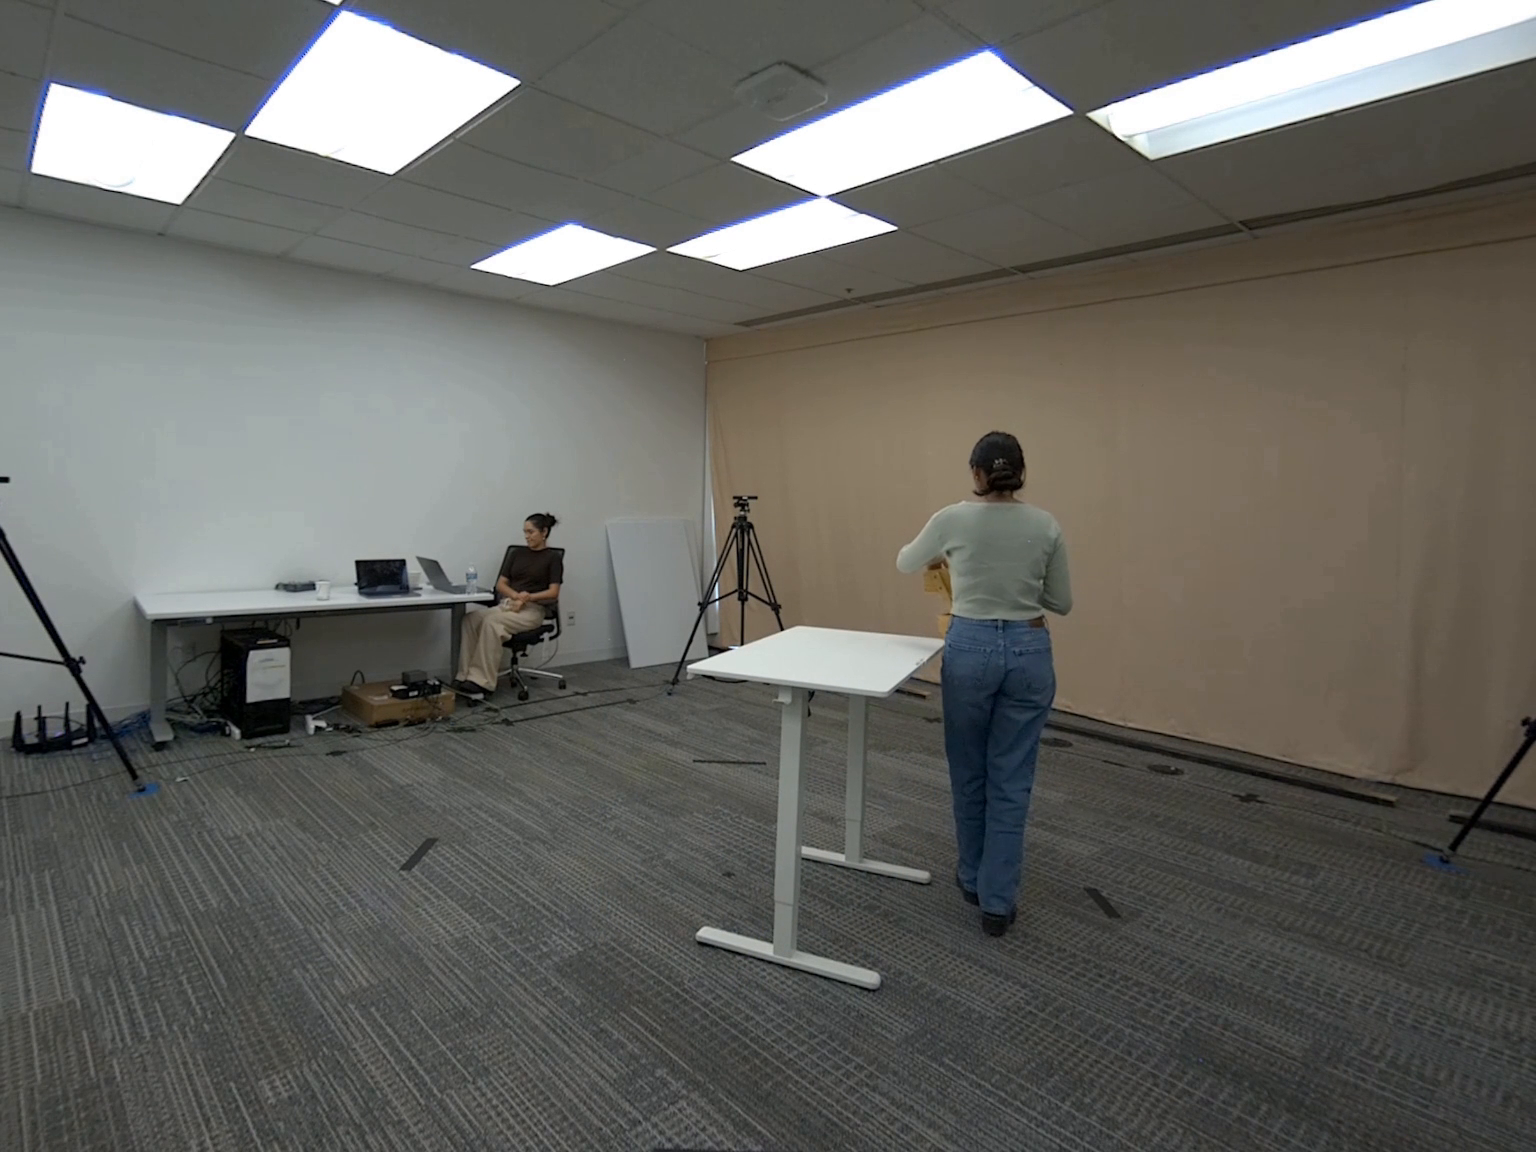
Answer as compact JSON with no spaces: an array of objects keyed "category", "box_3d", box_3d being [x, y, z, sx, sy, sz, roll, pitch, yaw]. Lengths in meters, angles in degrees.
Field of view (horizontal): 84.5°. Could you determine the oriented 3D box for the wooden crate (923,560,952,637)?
[{"category":"wooden crate","box_3d":[0.824,0.098,3.208,0.318,0.273,0.309,-7,4,-43]}]
